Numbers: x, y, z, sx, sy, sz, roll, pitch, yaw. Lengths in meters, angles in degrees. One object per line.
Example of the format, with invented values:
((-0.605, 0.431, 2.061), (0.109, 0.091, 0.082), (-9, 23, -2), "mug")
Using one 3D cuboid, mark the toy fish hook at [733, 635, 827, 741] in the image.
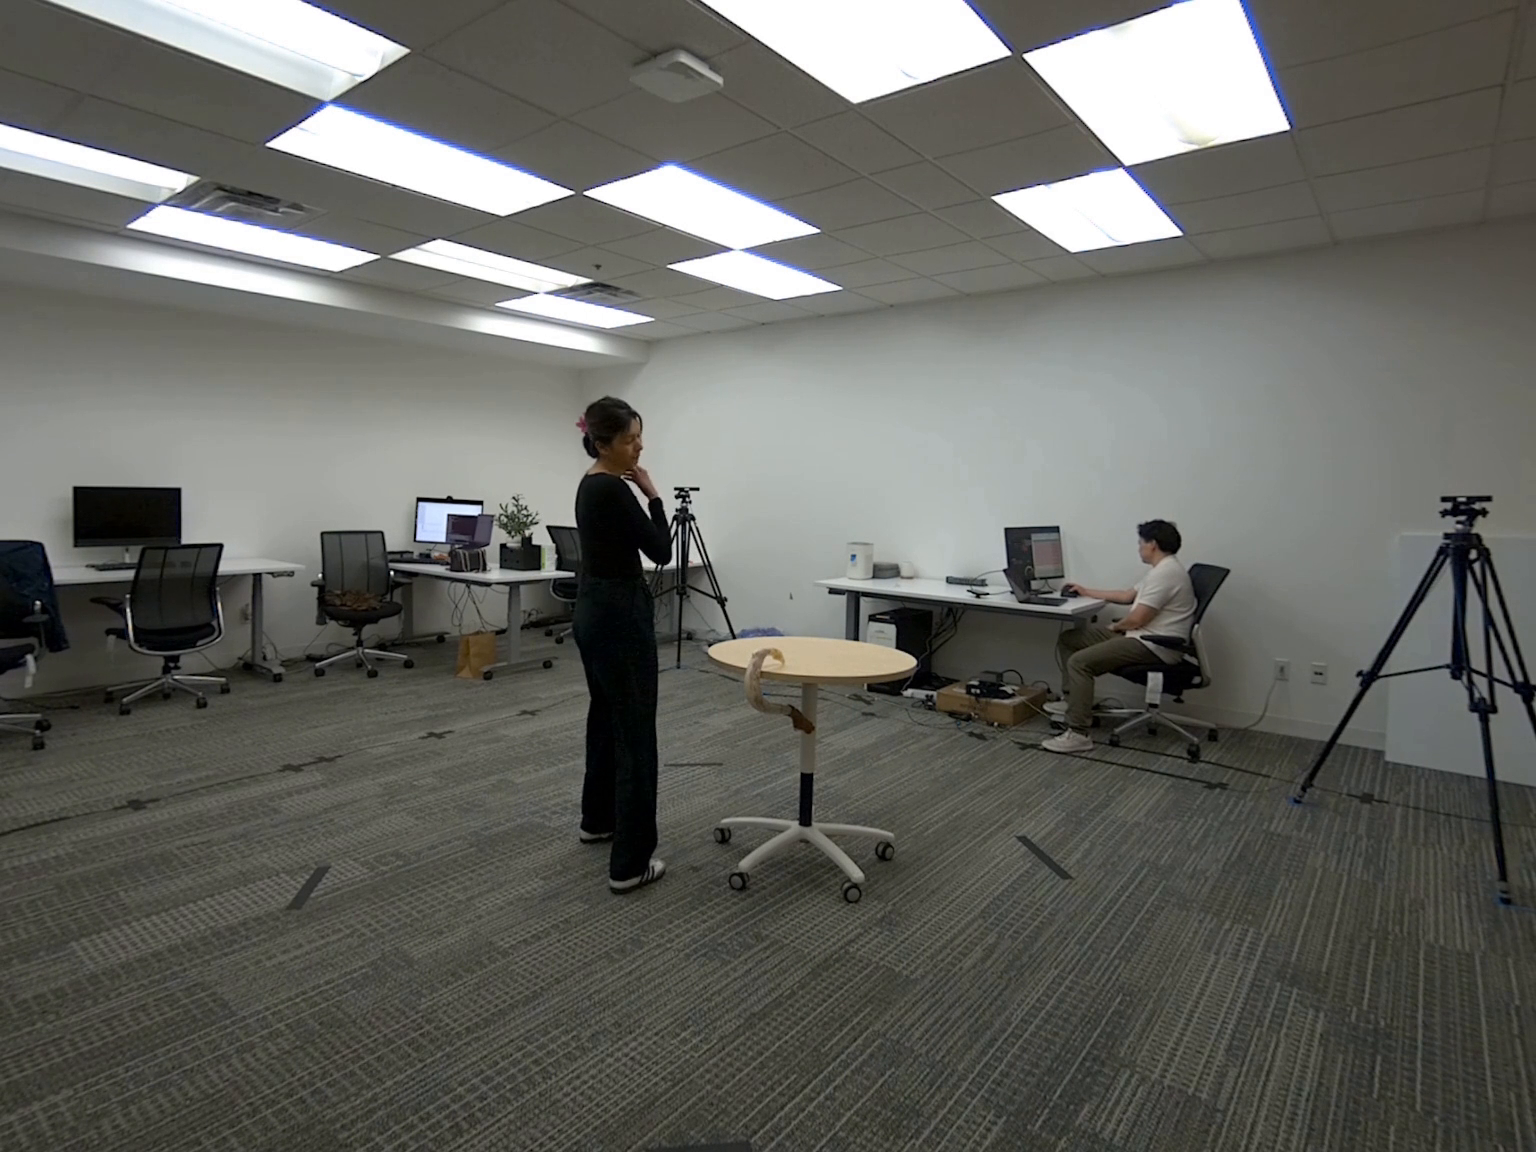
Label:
((0.053, 0.401, 2.958), (0.050, 0.227, 0.485), (5, -21, 33), "toy fish hook")
